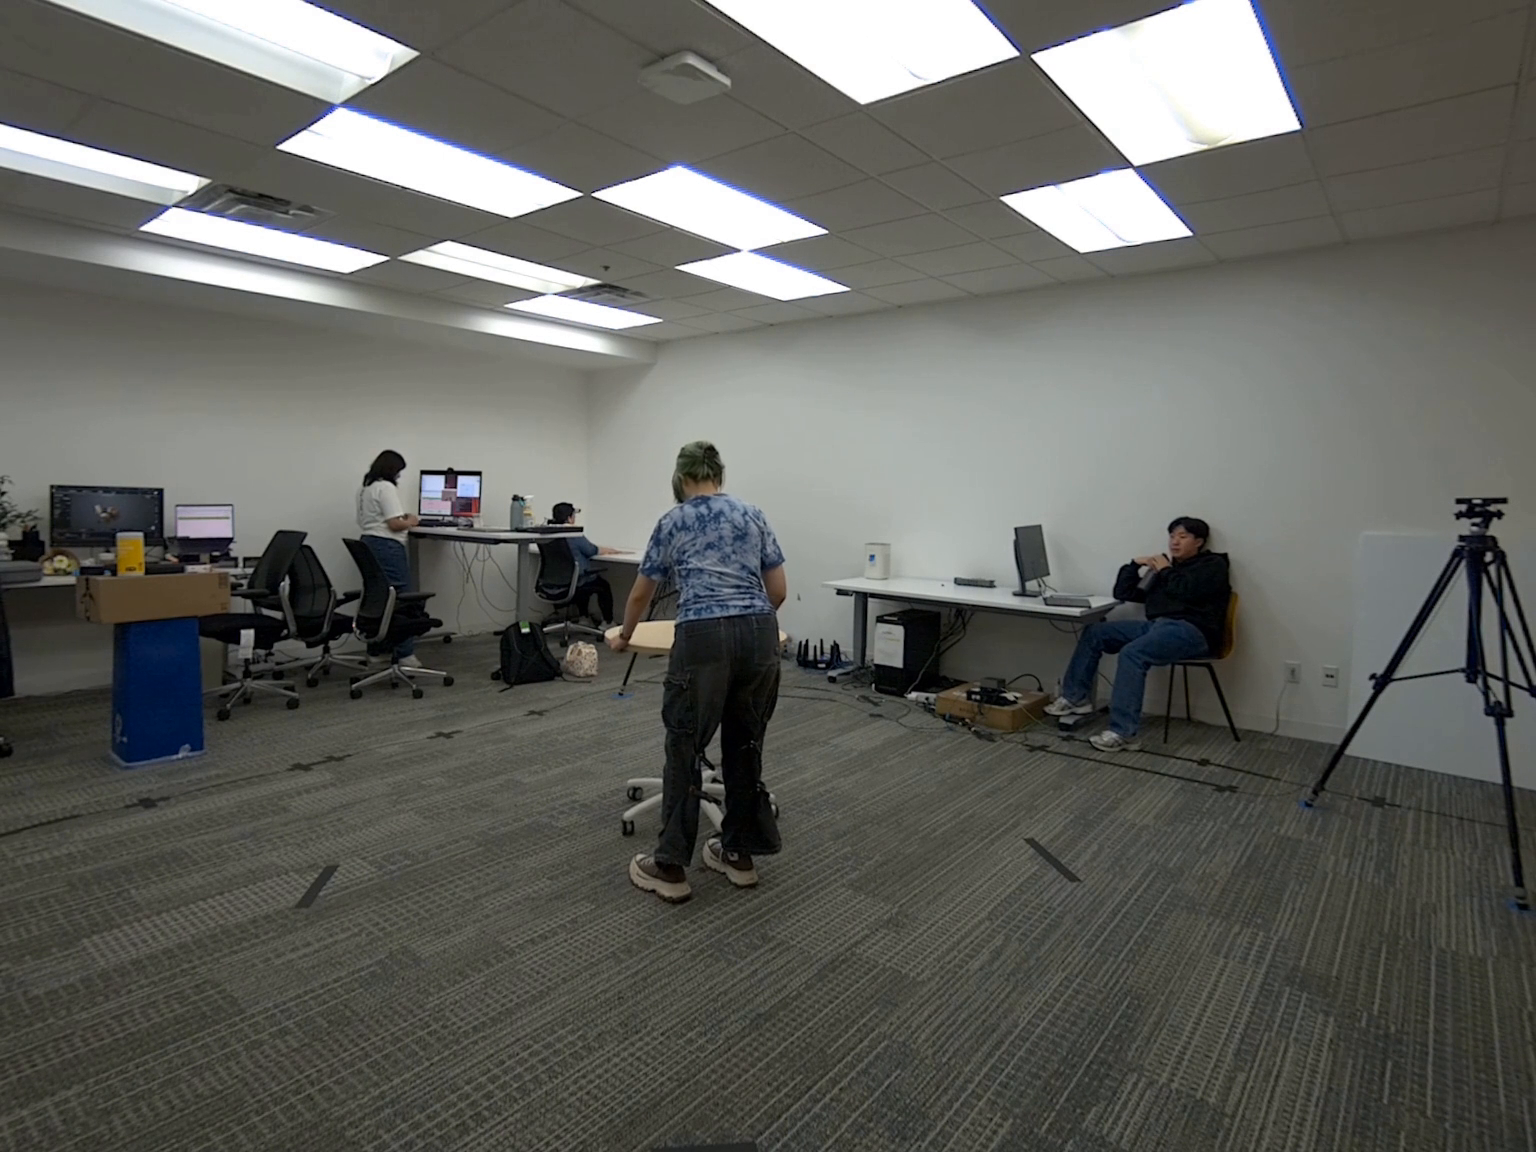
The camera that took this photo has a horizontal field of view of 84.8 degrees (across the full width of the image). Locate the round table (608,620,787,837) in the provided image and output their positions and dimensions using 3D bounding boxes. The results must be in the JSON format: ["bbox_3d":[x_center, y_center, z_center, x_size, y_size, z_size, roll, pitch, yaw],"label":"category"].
[{"bbox_3d":[-0.325,0.629,3.601,0.763,0.792,0.767,1,4,-2],"label":"round table"}]
